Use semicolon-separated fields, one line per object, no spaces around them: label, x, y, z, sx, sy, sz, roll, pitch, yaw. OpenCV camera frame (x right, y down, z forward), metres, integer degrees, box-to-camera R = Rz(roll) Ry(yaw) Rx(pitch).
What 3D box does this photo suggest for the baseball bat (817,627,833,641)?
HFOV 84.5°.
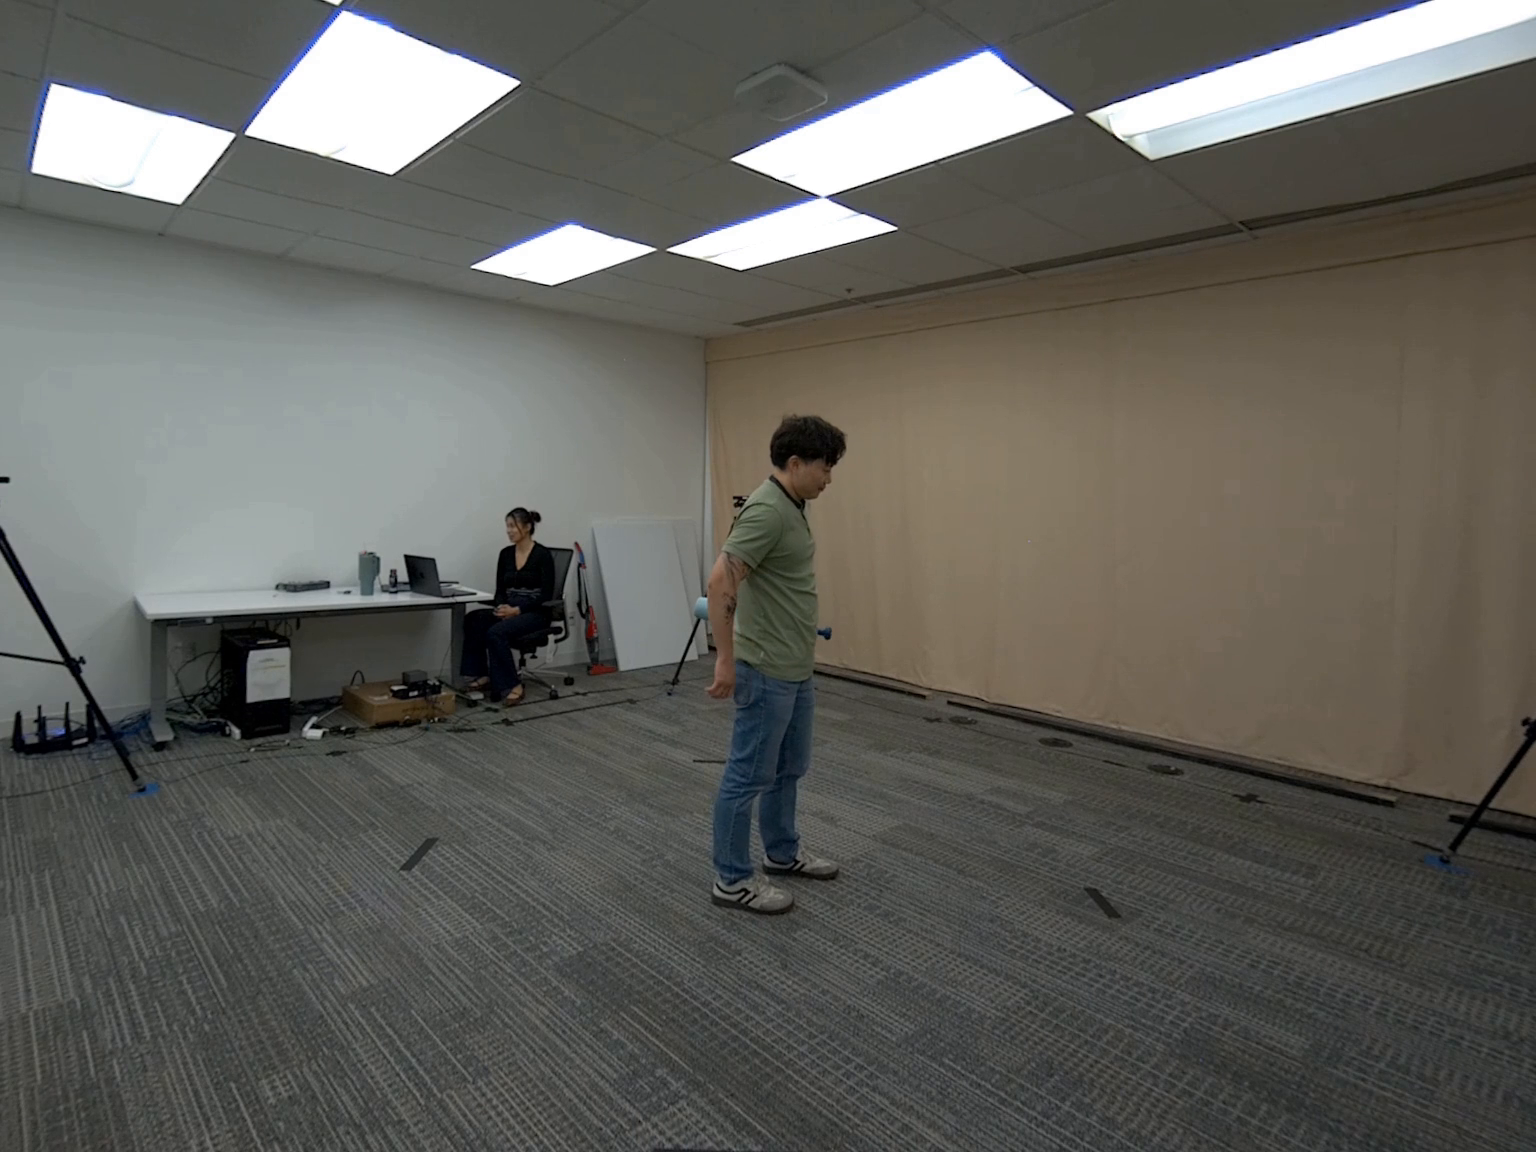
baseball bat;0.008;0.186;3.263;0.549;0.089;0.088;9;6;13
